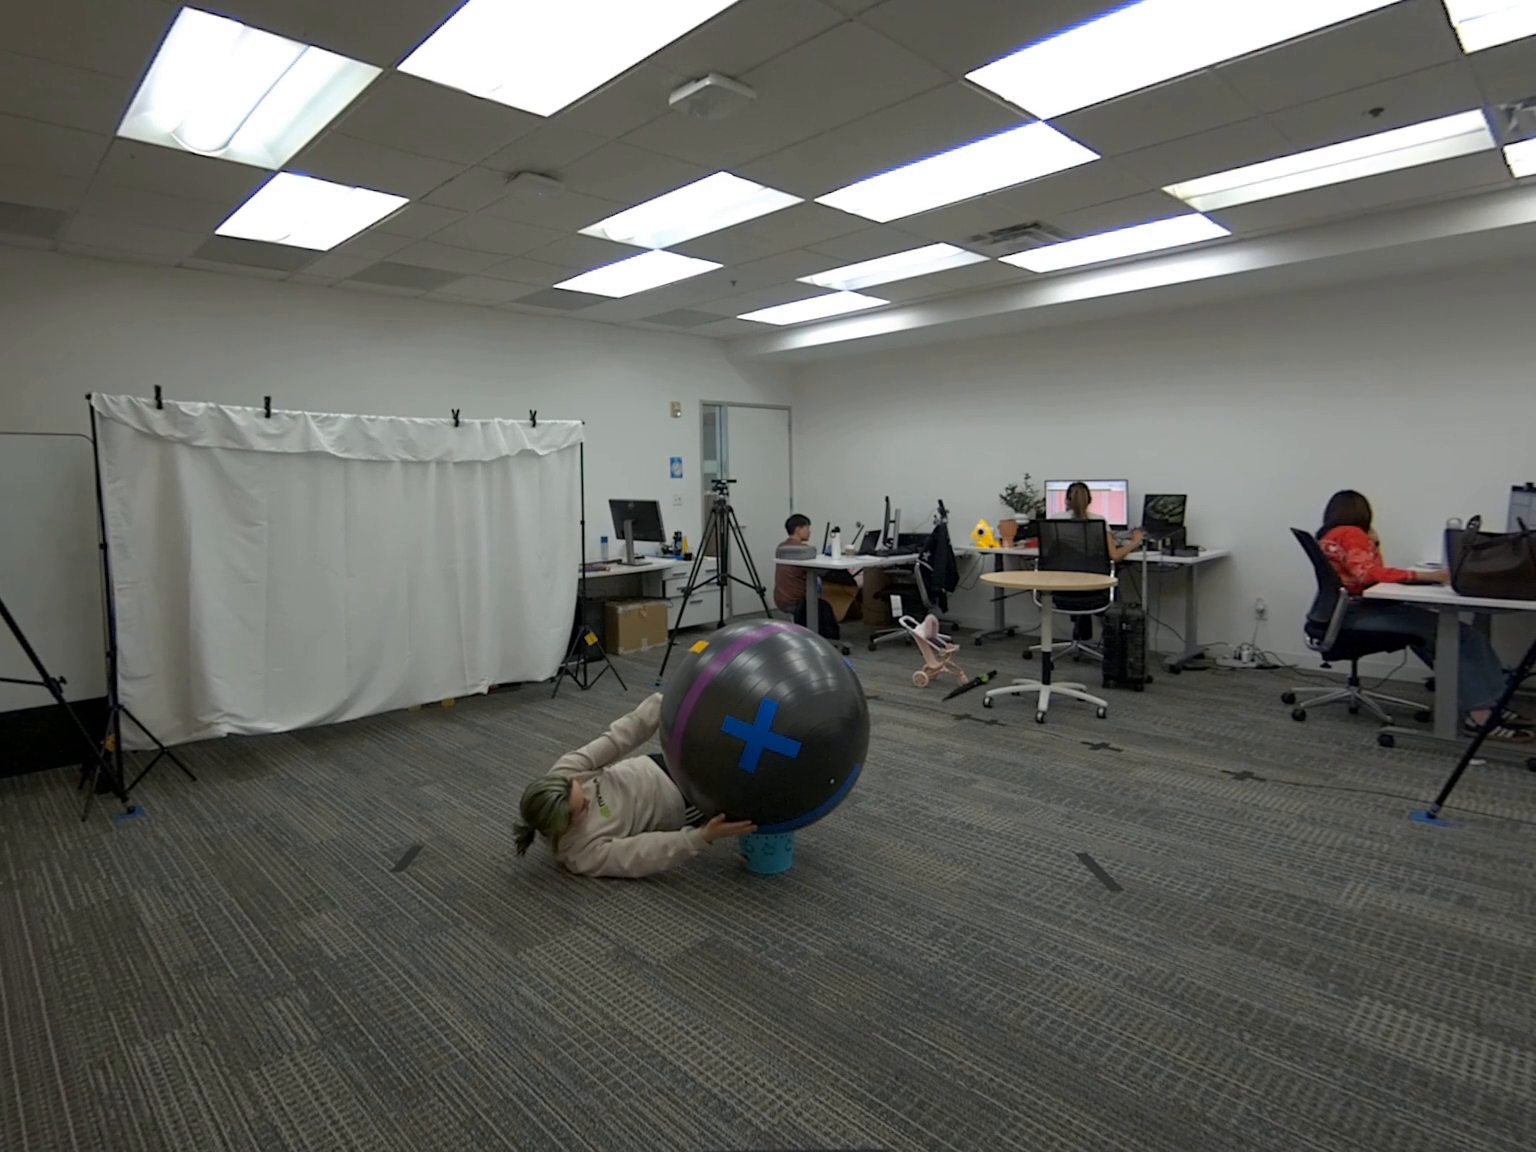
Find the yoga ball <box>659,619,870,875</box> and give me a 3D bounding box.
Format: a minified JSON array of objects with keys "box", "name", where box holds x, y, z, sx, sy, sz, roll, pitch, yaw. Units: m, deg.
[{"box":[-0.012,0.533,3.088,0.757,0.755,0.762,-1,5,-2],"name":"yoga ball"}]
